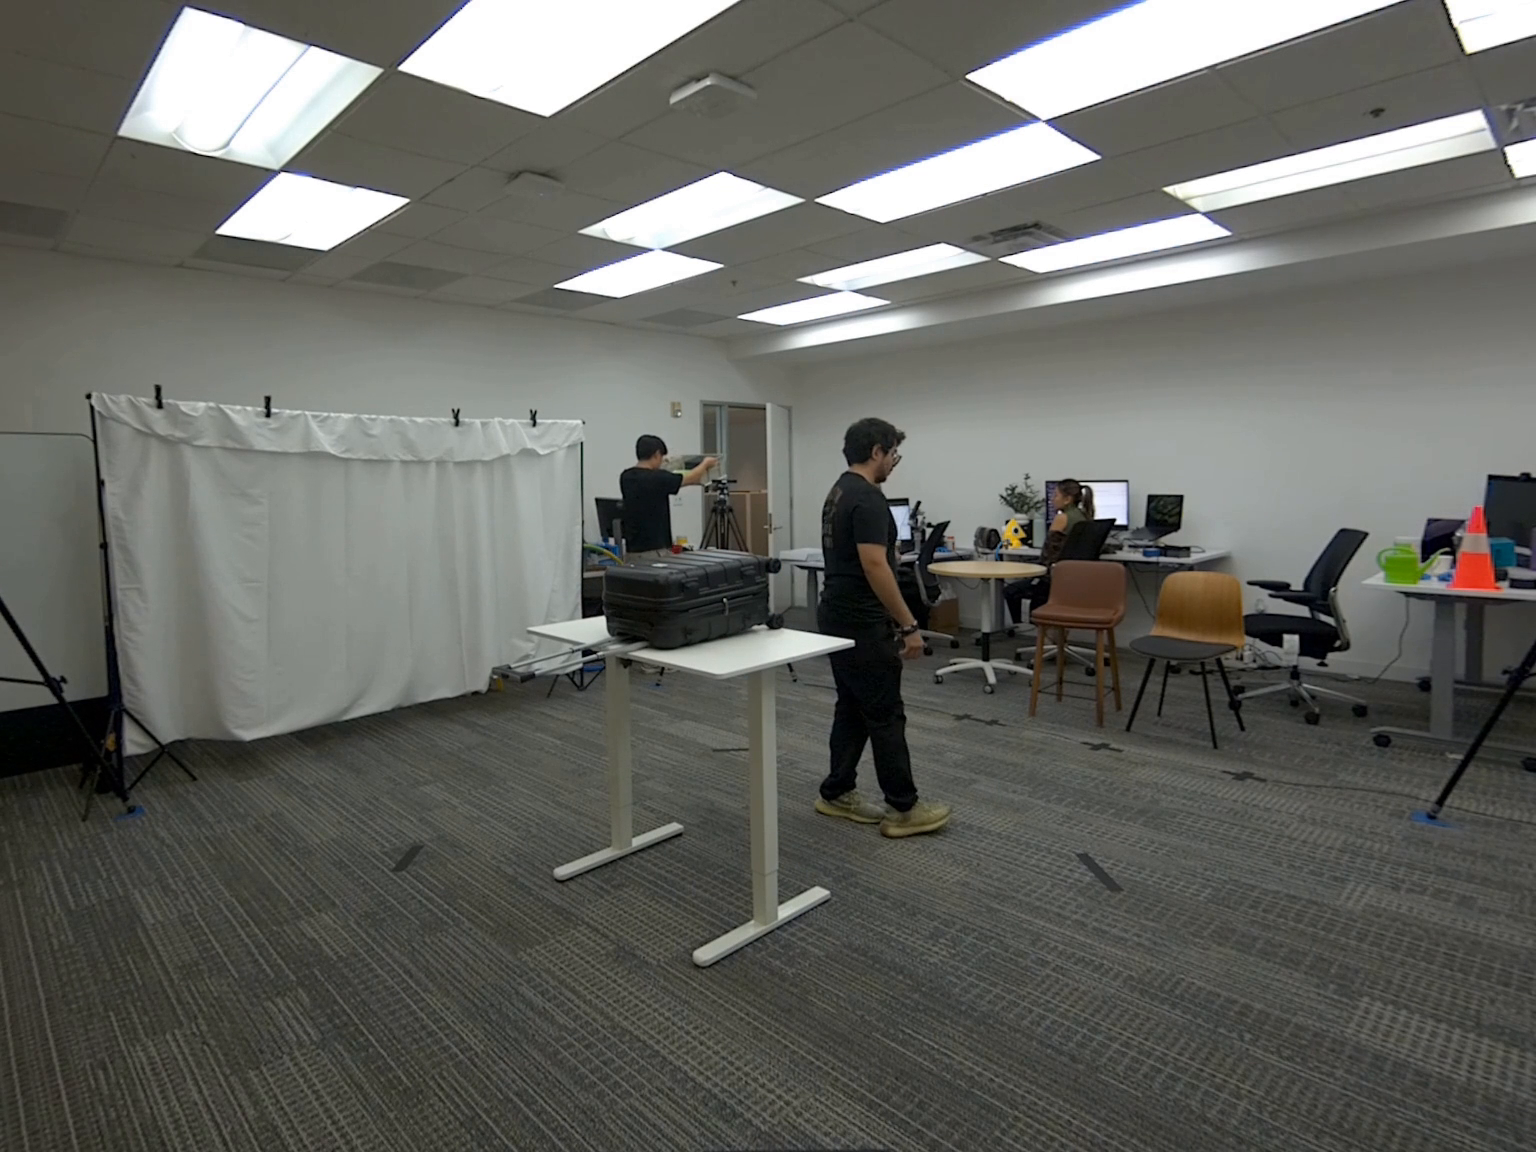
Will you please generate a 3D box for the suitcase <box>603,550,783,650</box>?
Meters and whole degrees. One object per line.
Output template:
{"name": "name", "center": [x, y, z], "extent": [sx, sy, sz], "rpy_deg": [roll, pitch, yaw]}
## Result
{"name": "suitcase", "center": [-0.400, 0.096, 2.726], "extent": [0.396, 0.255, 0.954], "rpy_deg": [7, 12, 44]}
